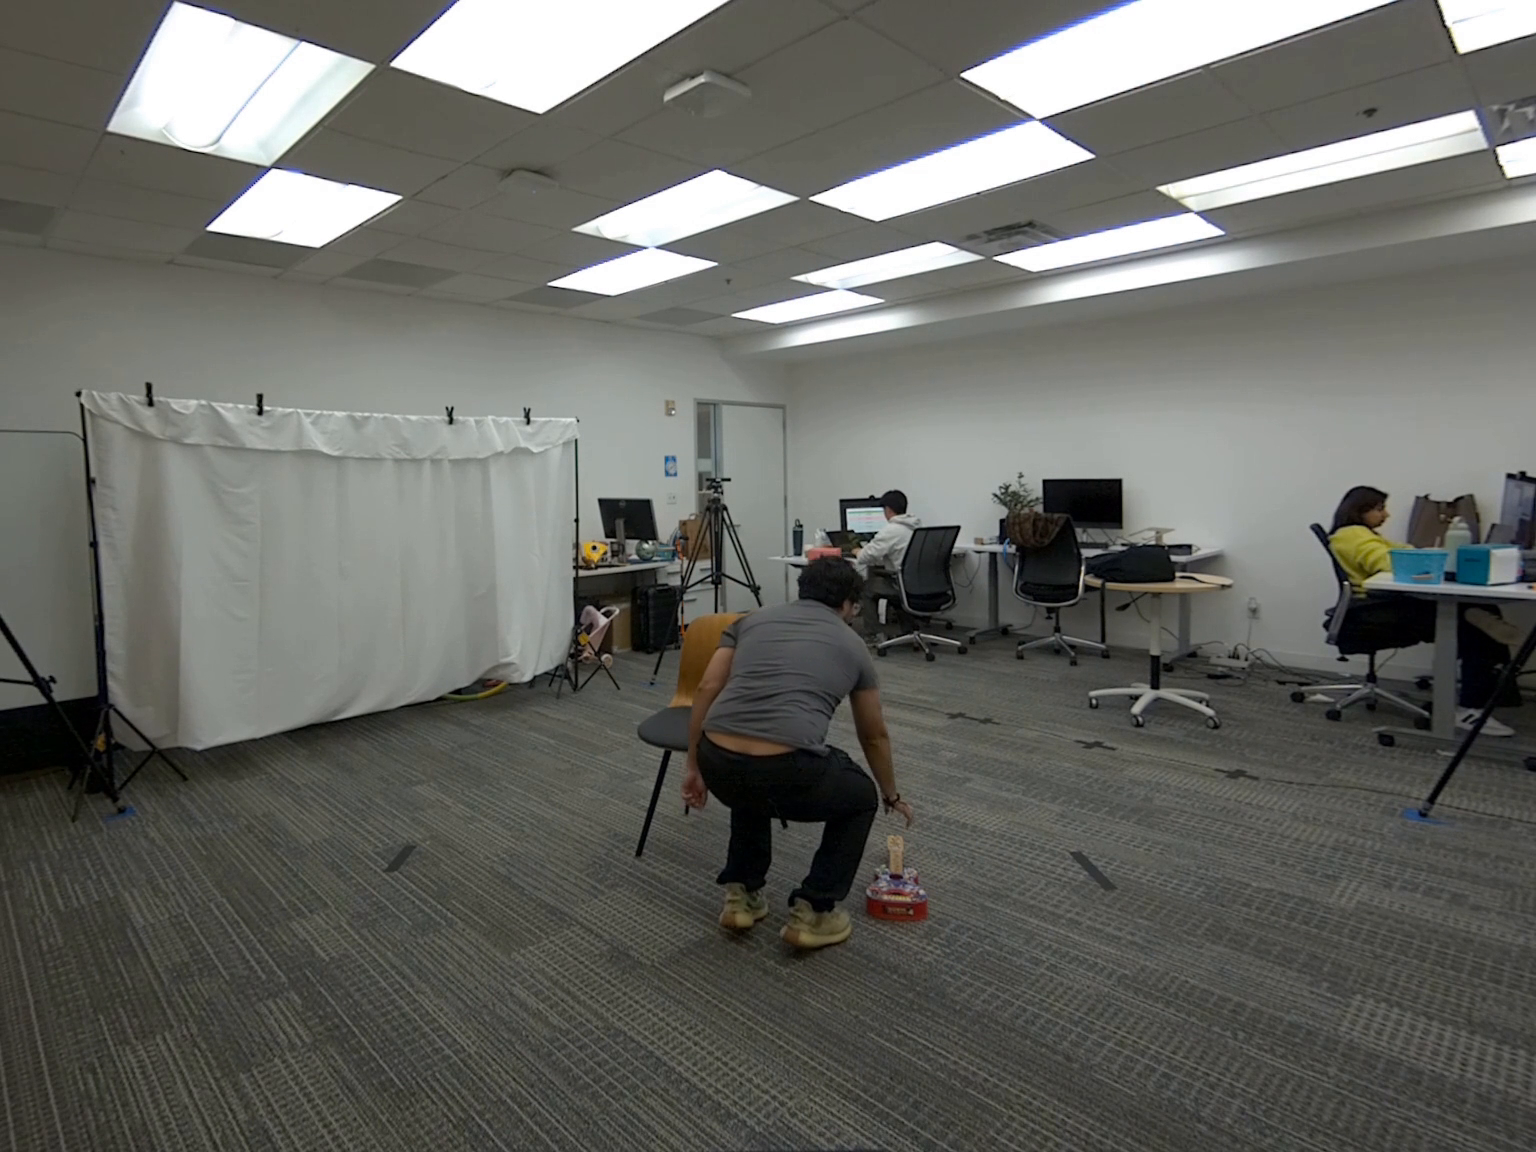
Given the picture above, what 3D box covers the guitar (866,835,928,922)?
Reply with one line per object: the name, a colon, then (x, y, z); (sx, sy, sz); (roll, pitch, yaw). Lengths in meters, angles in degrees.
guitar: (0.467, 1.022, 2.912); (0.196, 0.070, 0.491); (1, 7, 18)
